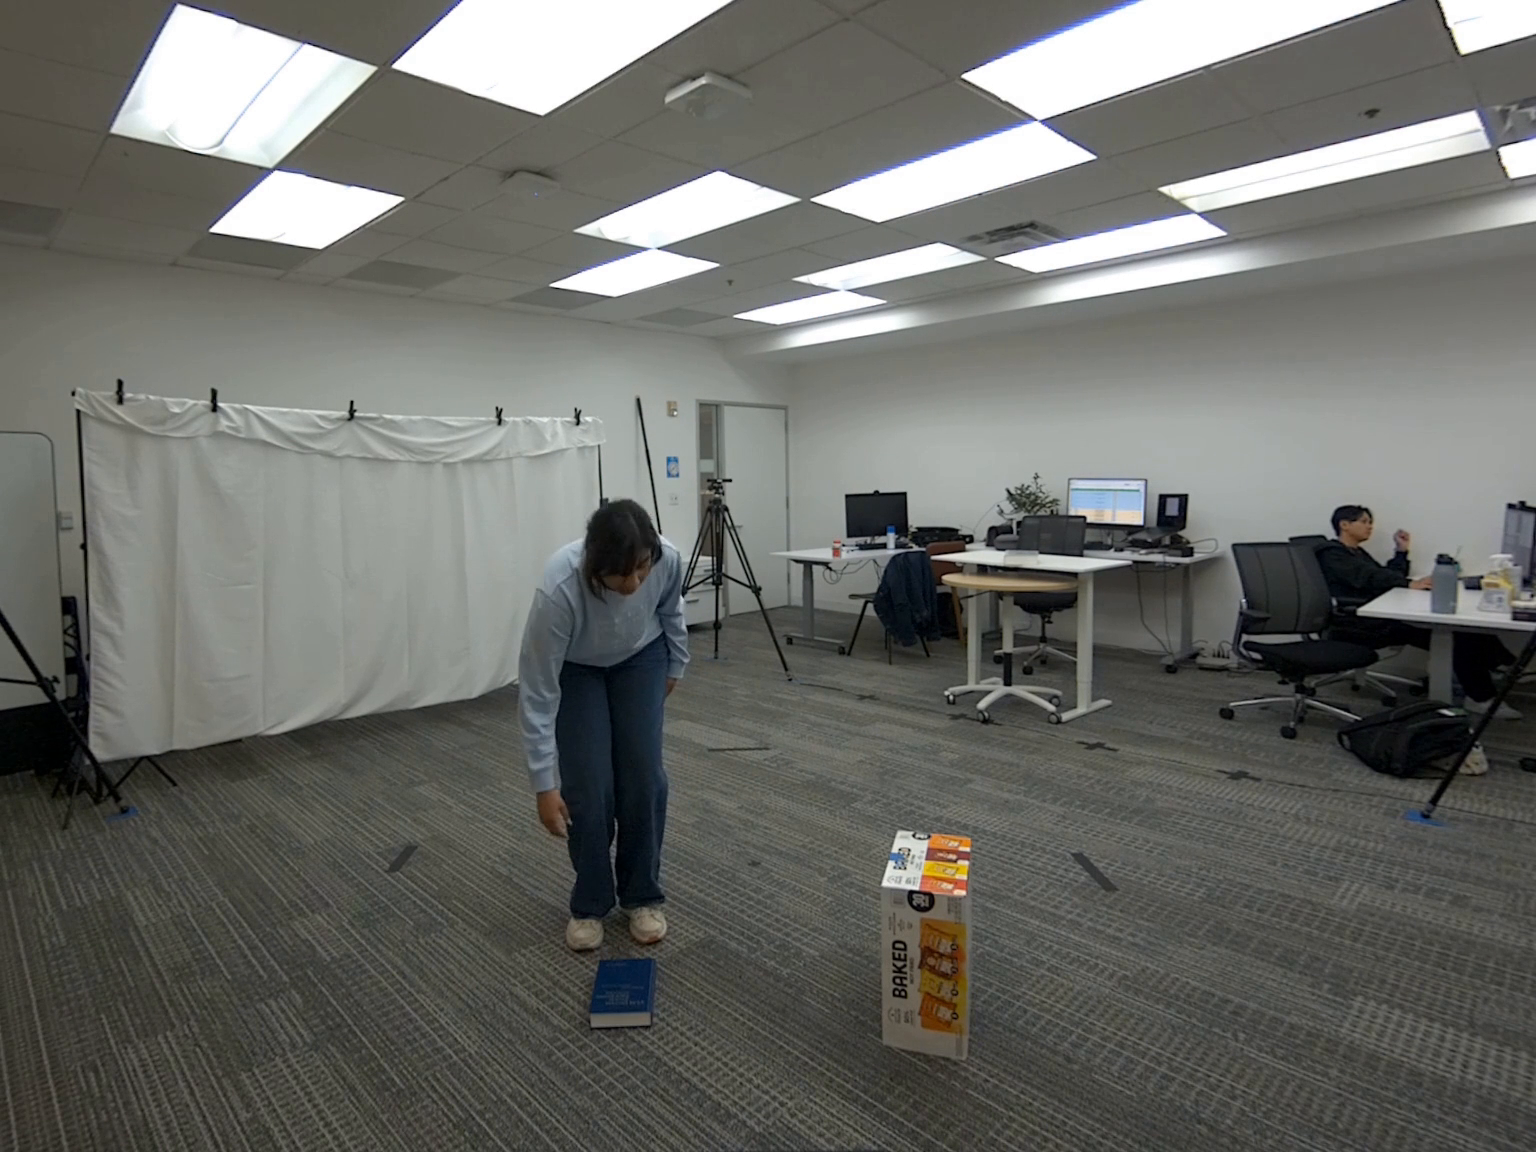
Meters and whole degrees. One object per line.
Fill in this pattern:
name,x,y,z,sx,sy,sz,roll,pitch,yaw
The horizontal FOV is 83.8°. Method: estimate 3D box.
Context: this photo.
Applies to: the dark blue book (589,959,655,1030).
dark blue book,-0.391,1.128,2.307,0.163,0.045,0.247,-2,7,-4
